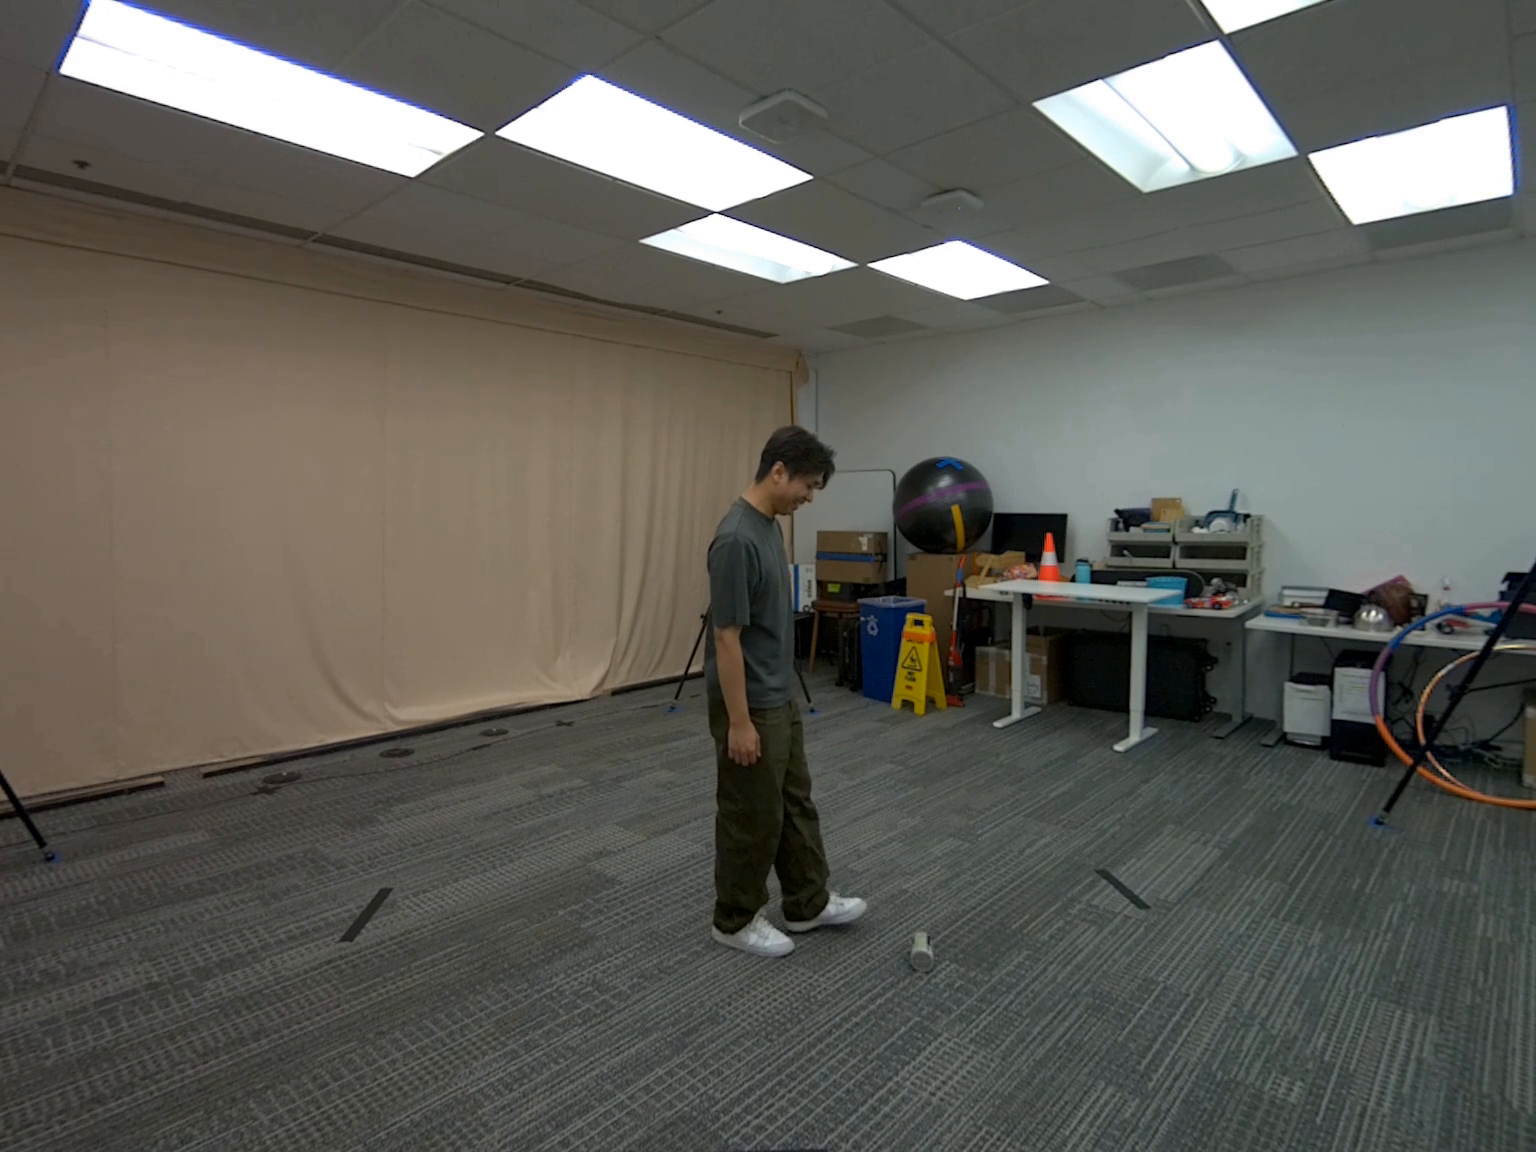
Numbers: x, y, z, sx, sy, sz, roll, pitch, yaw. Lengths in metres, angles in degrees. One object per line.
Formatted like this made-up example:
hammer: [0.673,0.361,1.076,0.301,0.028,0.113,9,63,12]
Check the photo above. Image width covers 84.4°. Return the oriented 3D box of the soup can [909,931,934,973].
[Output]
soup can: [0.468,1.137,2.552,0.068,0.067,0.121,0,7,8]
